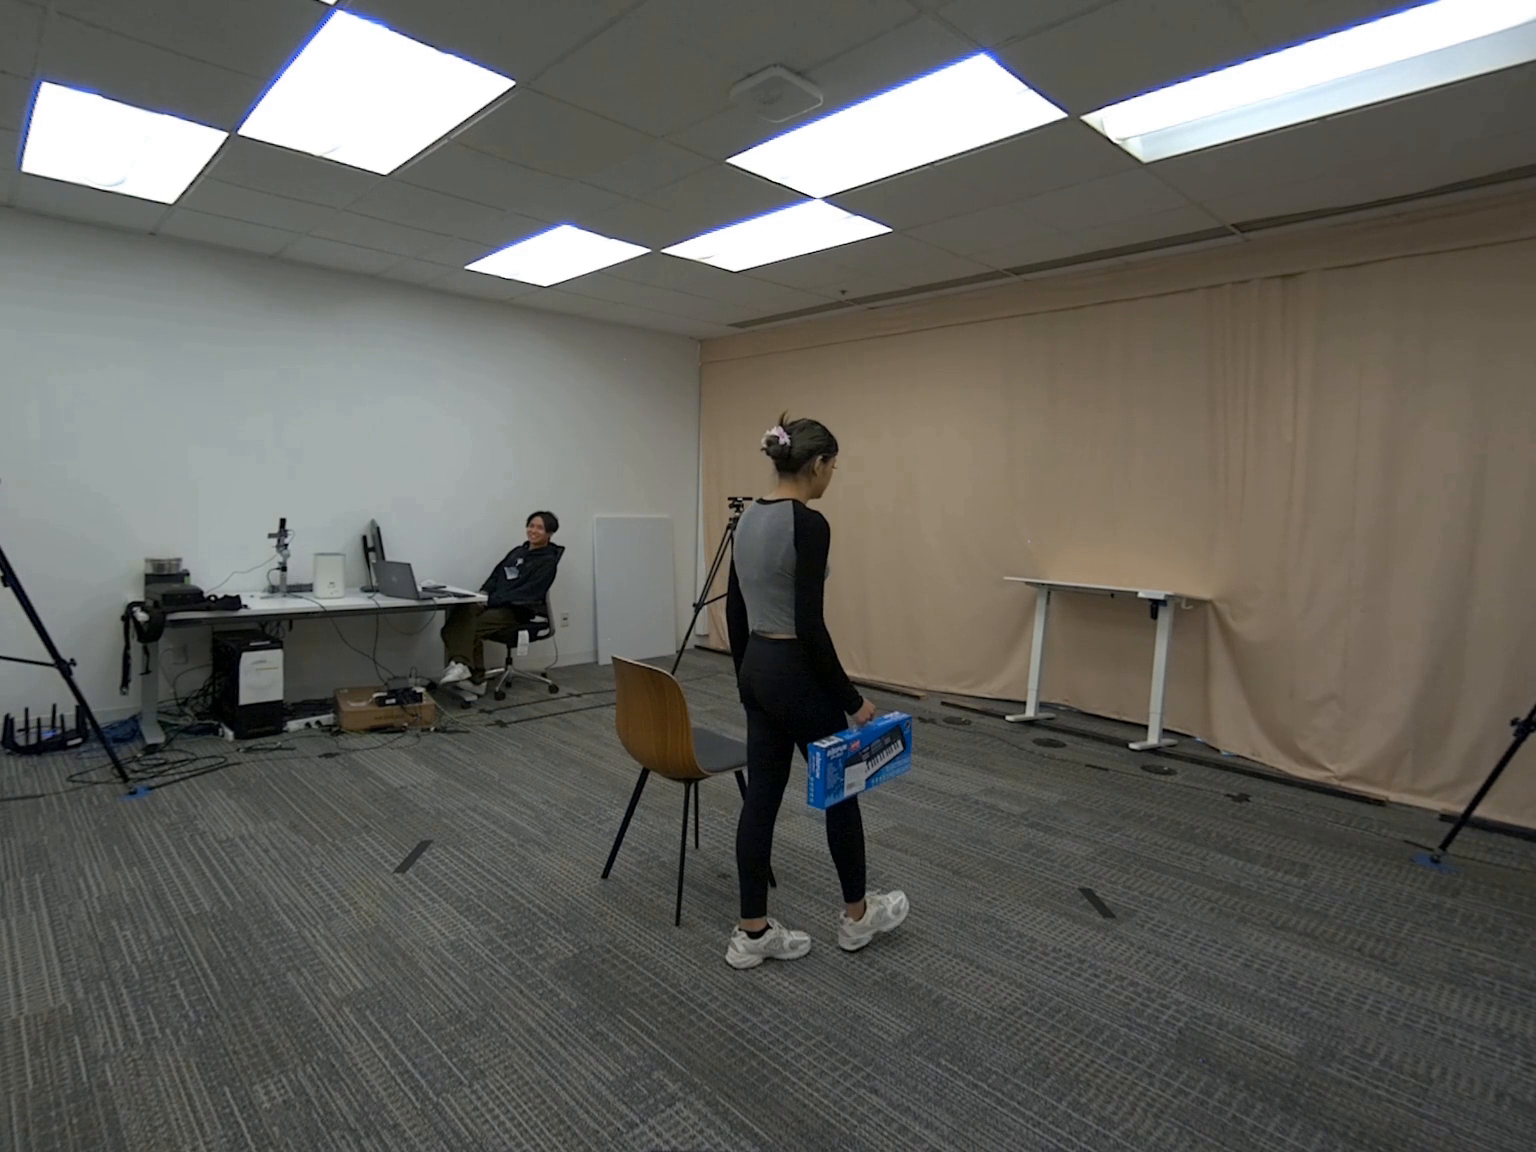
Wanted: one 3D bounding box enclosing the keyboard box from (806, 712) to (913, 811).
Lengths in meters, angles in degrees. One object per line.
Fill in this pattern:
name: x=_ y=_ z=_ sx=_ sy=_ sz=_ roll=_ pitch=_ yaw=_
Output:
keyboard box: x=0.266 y=0.531 z=2.437 sx=0.060 sy=0.175 sz=0.427 roll=5 pitch=8 yaw=42
